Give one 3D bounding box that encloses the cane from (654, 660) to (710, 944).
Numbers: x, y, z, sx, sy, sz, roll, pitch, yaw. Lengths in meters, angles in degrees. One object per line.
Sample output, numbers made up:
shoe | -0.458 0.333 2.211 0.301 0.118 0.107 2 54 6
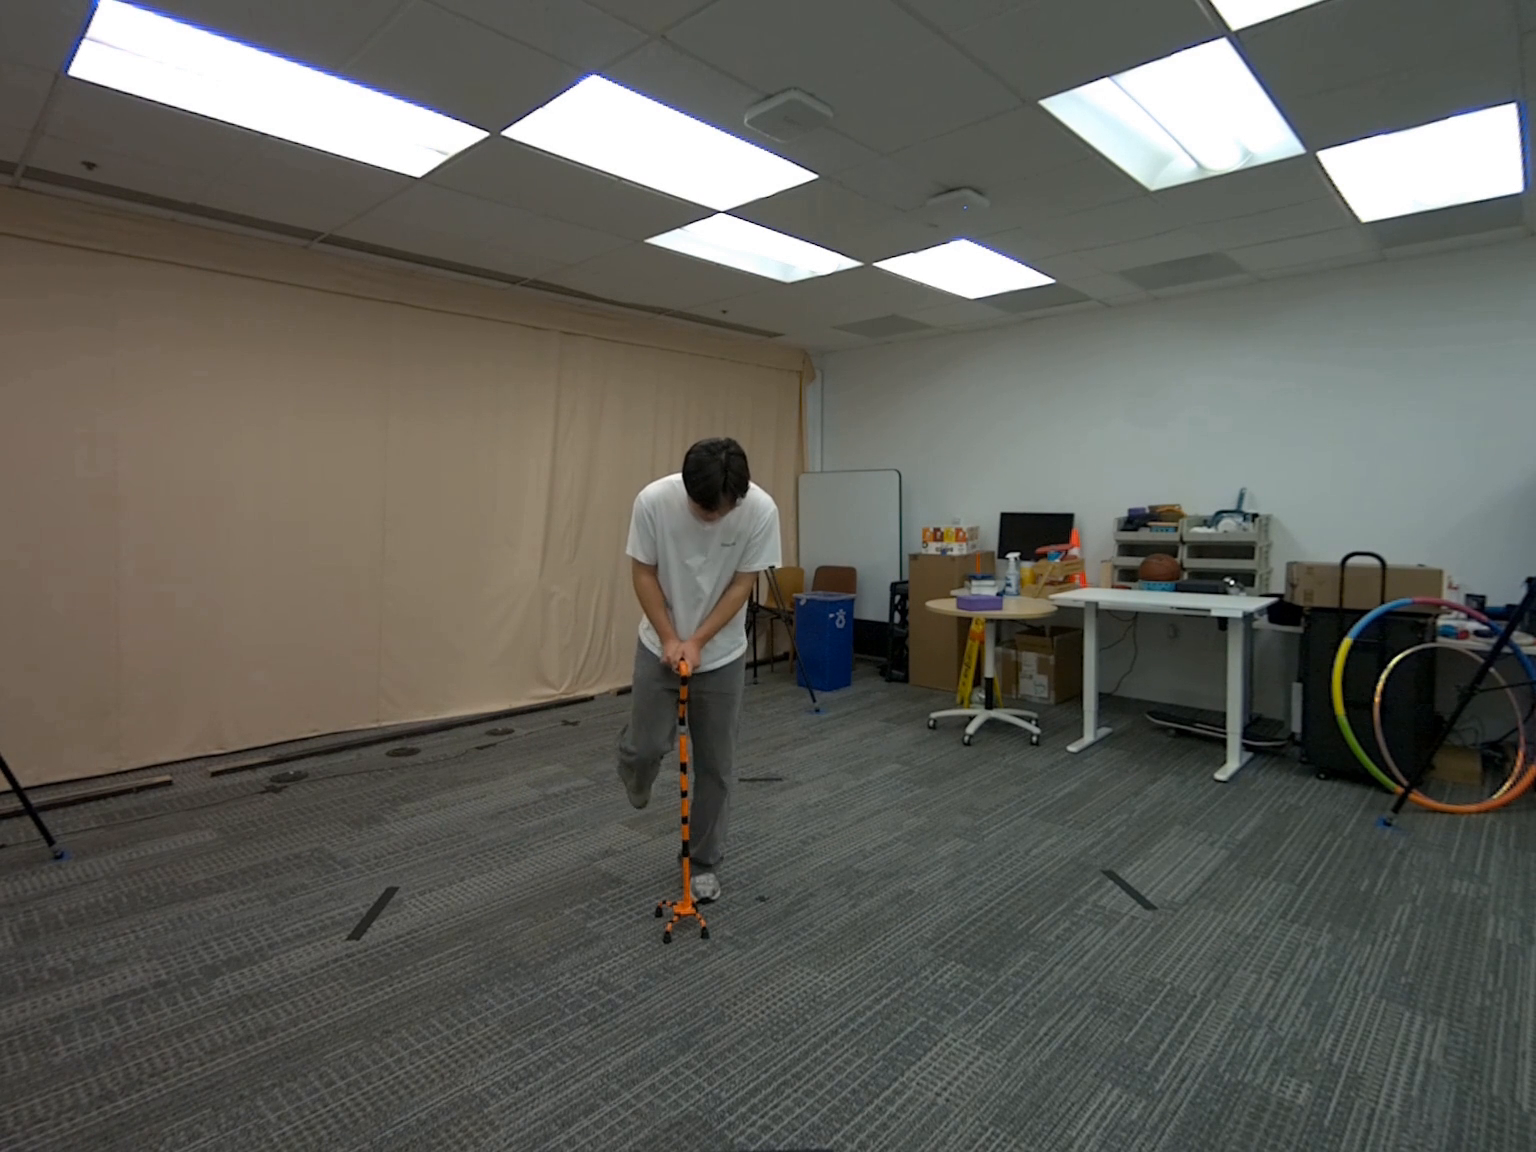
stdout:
cane | -0.289 0.709 2.772 0.149 0.907 0.210 -1 2 -17
